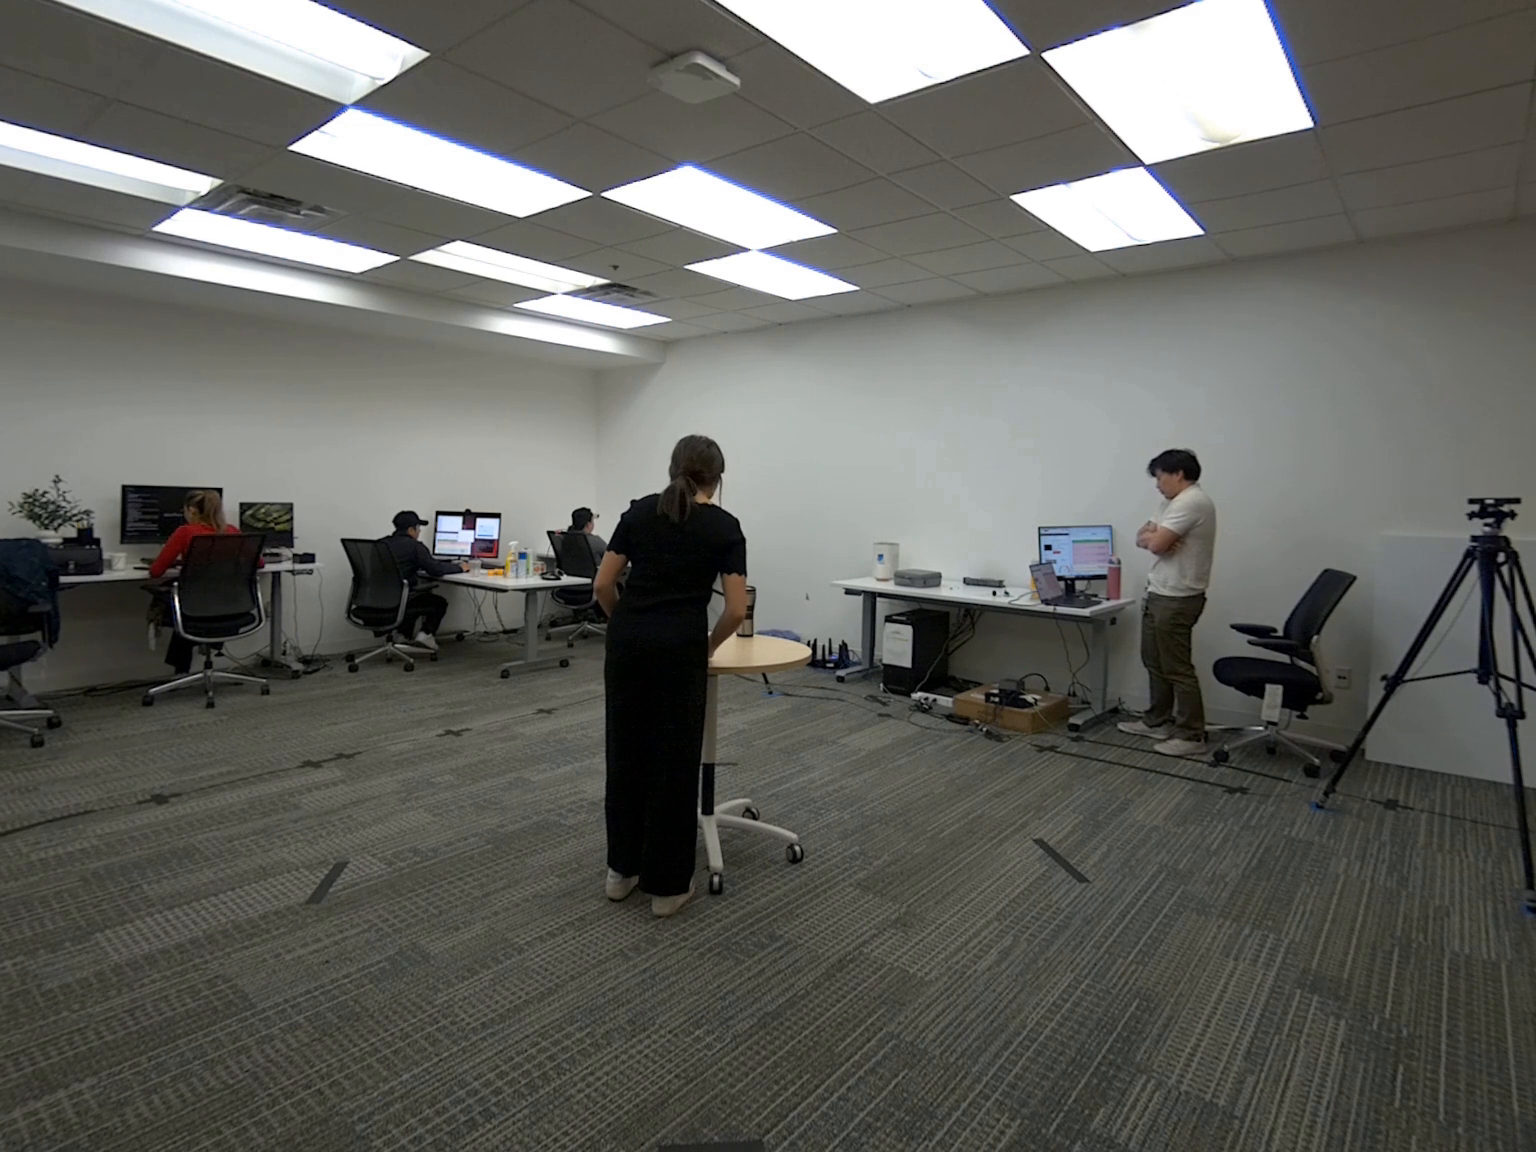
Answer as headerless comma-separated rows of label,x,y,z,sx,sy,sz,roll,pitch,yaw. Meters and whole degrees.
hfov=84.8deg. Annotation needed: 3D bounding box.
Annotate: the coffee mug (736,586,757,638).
coffee mug,-0.107,0.144,3.553,0.088,0.201,0.122,-4,8,6
